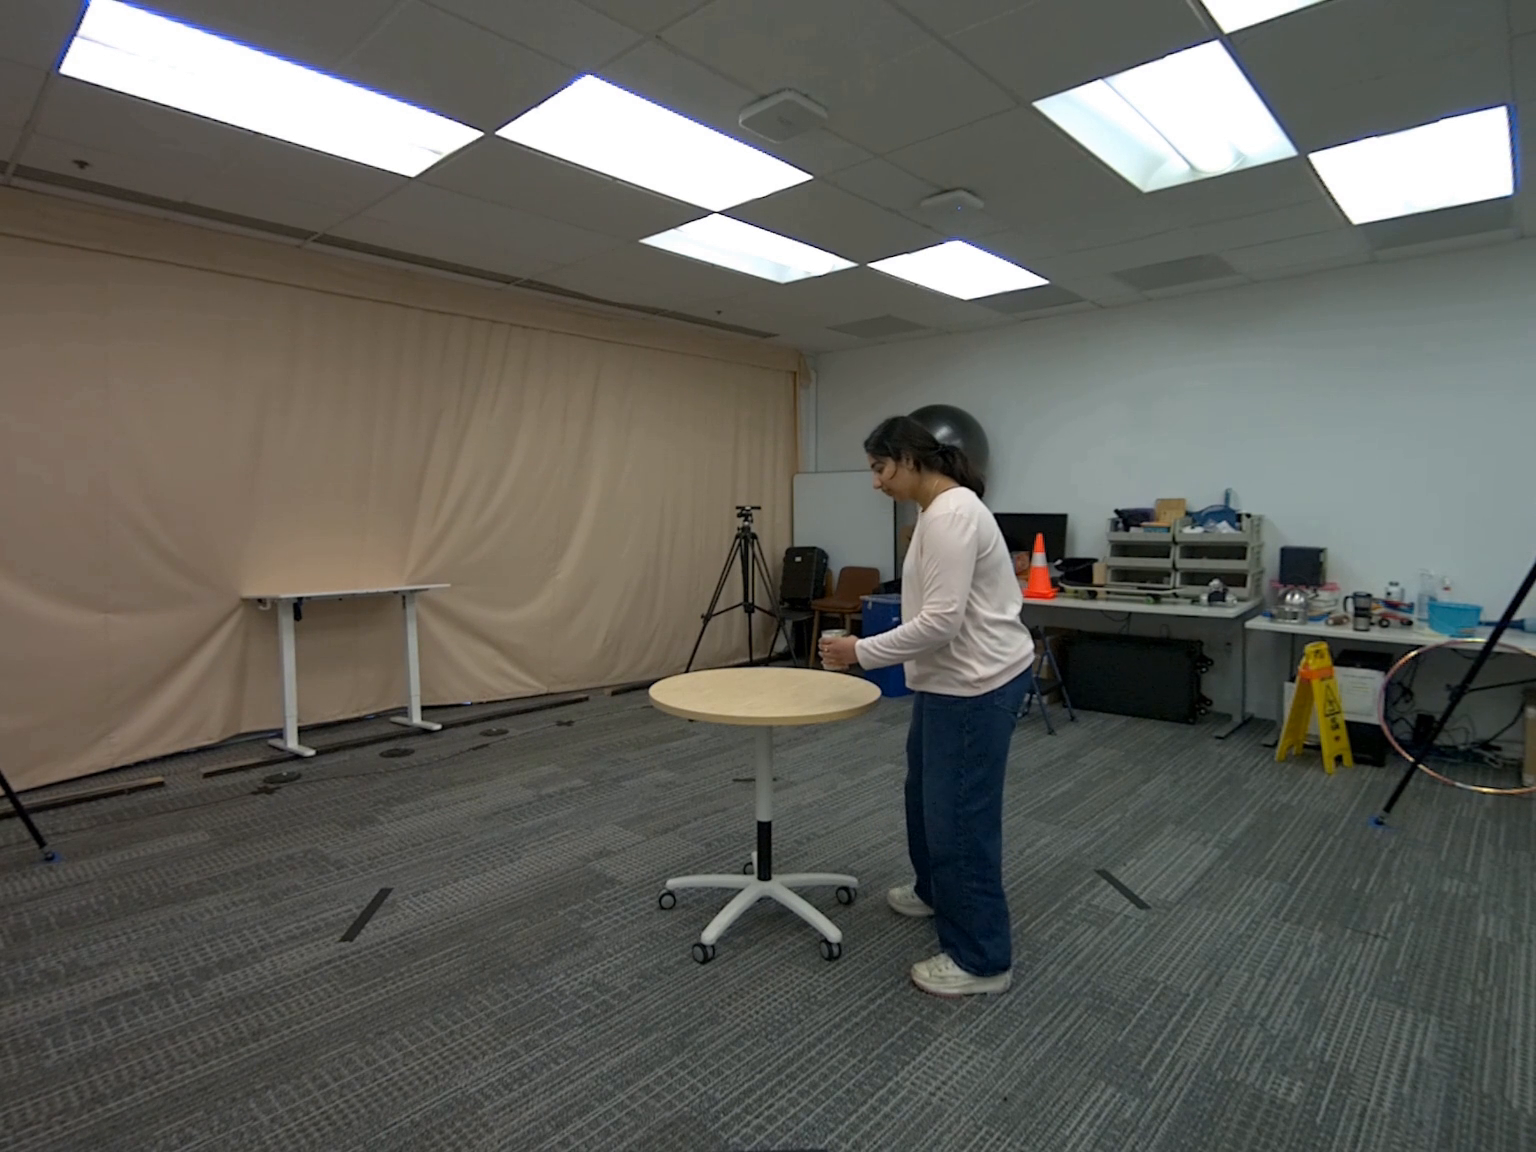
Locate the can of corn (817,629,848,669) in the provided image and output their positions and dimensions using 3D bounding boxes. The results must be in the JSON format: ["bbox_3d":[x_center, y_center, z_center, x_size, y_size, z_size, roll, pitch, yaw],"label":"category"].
[{"bbox_3d":[0.215,0.225,2.537,0.074,0.111,0.074,0,1,-2],"label":"can of corn"}]
